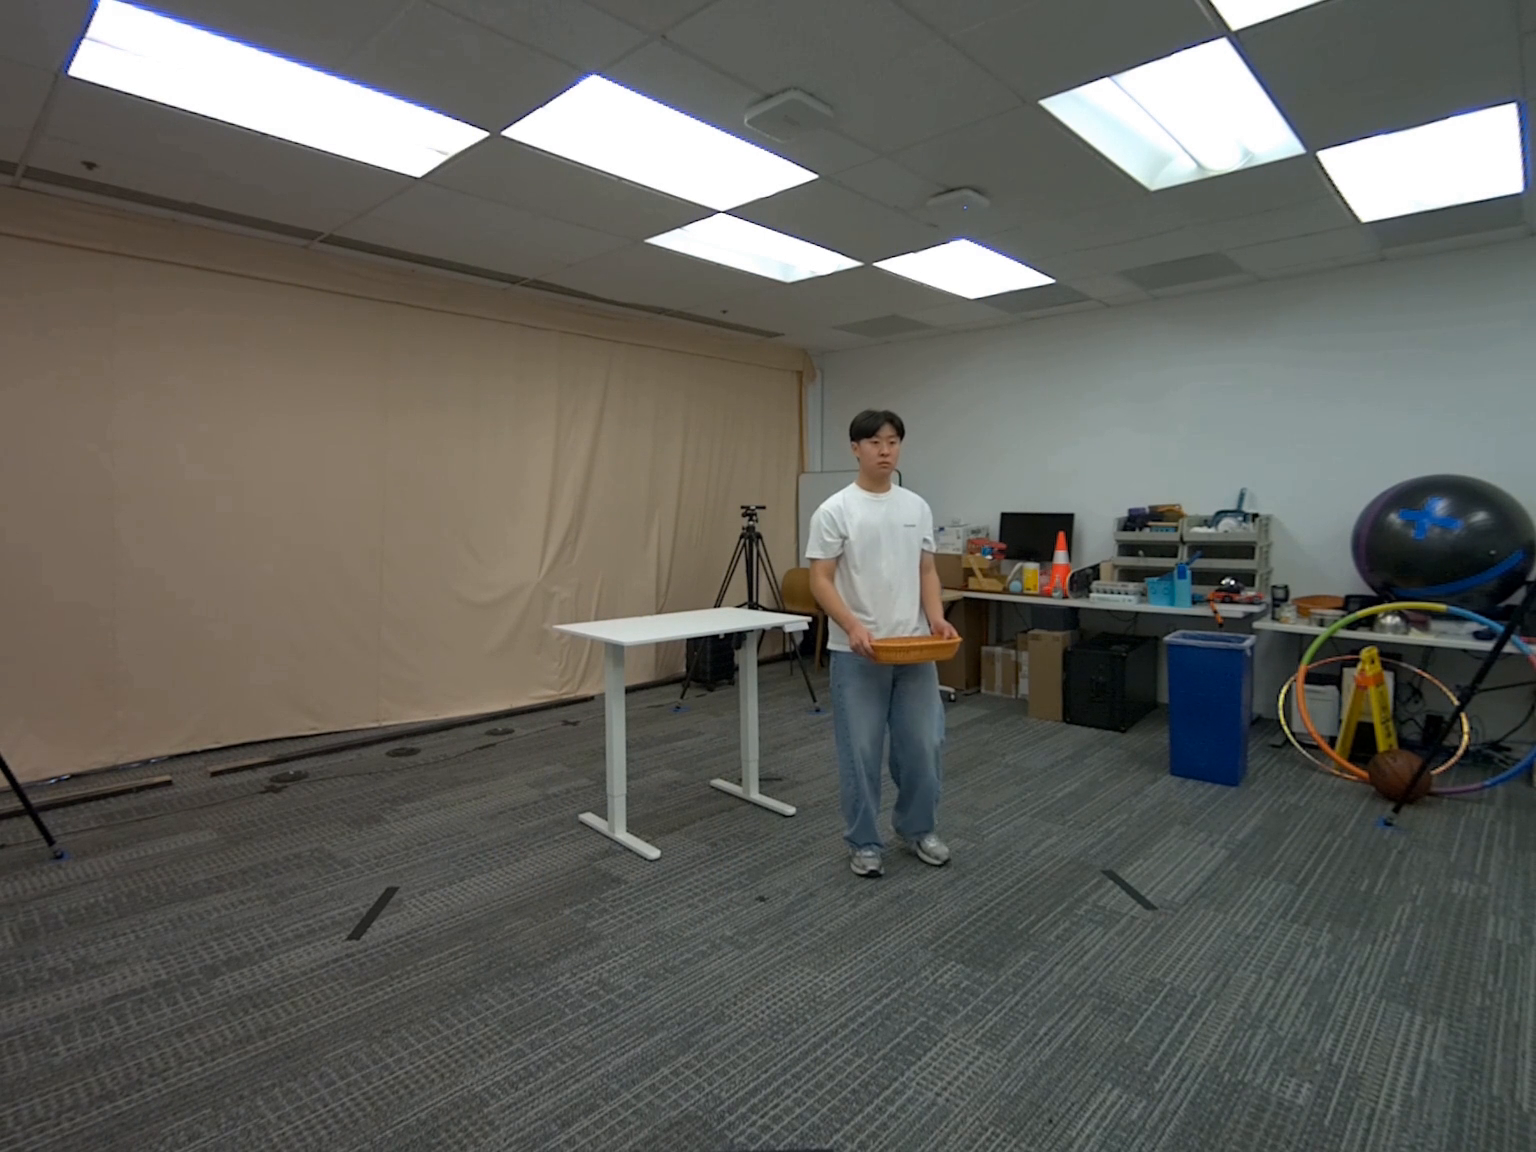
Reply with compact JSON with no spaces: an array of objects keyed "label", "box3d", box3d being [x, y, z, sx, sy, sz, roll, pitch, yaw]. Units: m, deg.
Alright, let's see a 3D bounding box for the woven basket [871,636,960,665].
[{"label":"woven basket","box3d":[0.508,0.261,2.992,0.344,0.073,0.257,-4,3,-20]}]
